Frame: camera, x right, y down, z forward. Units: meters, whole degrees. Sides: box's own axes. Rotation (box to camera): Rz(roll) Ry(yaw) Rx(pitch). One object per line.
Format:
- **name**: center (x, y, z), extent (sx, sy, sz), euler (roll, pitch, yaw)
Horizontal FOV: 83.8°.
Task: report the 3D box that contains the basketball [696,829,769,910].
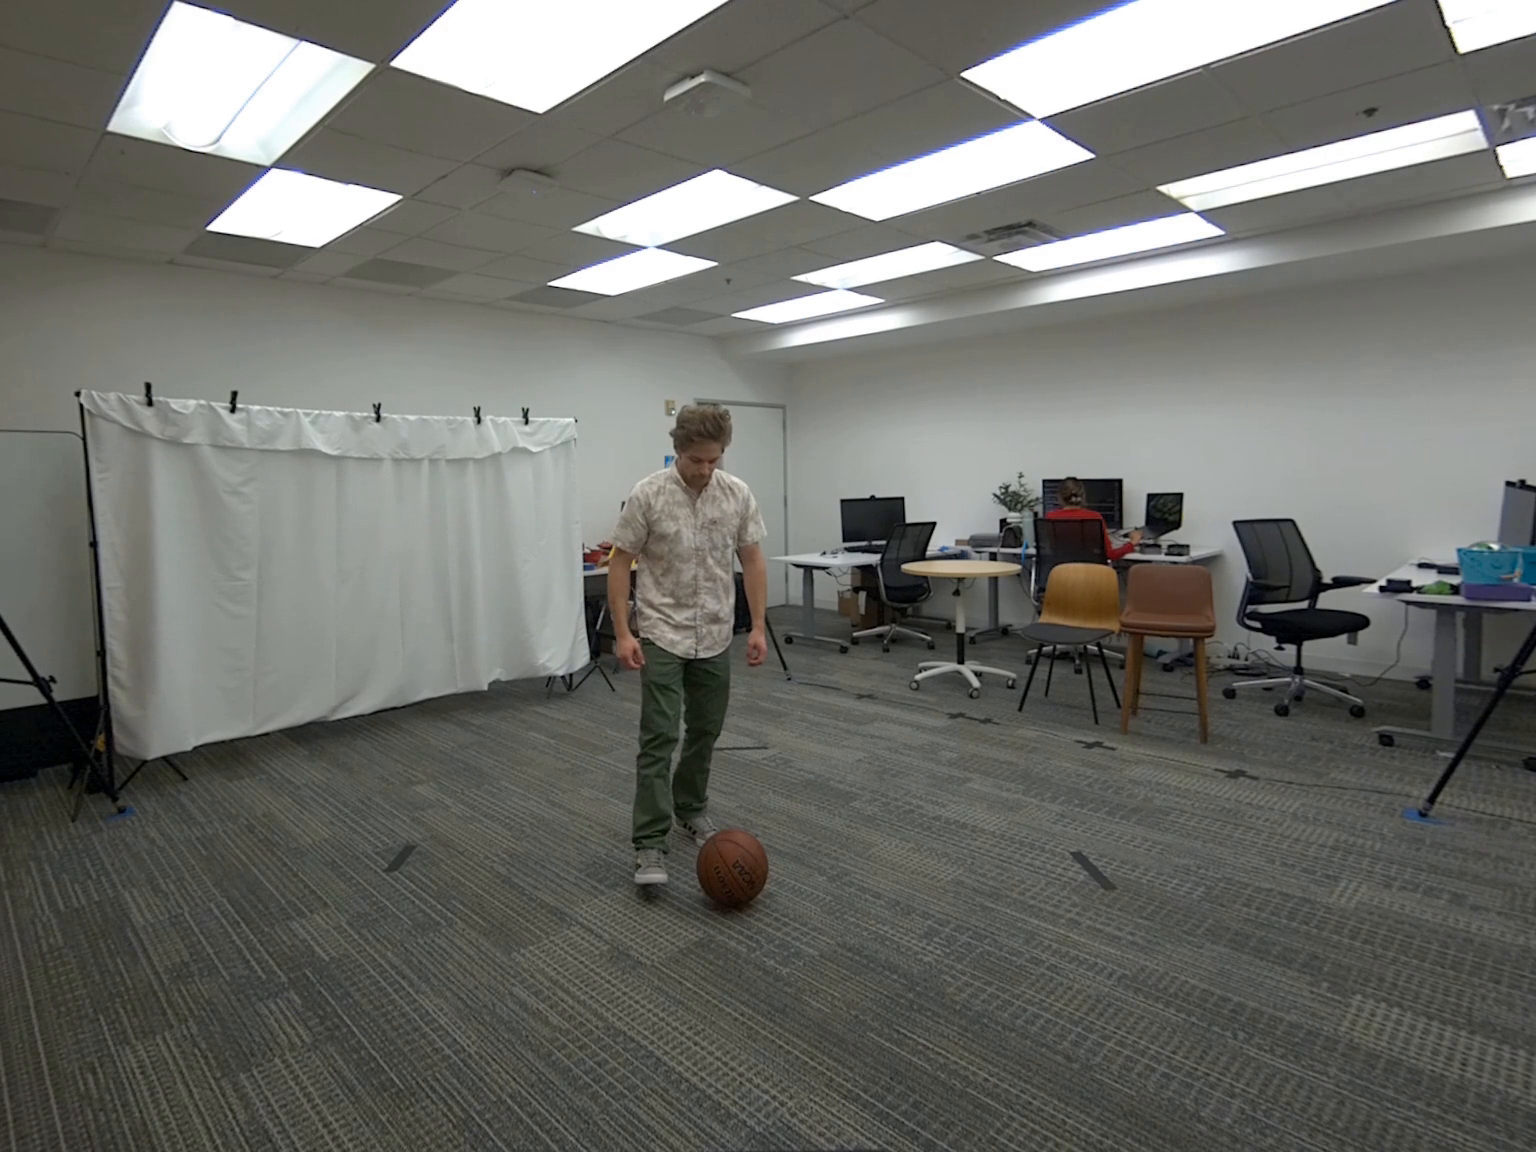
- **basketball**: center (-0.111, 0.949, 2.817), extent (0.236, 0.235, 0.237), euler (-1, 5, -2)
